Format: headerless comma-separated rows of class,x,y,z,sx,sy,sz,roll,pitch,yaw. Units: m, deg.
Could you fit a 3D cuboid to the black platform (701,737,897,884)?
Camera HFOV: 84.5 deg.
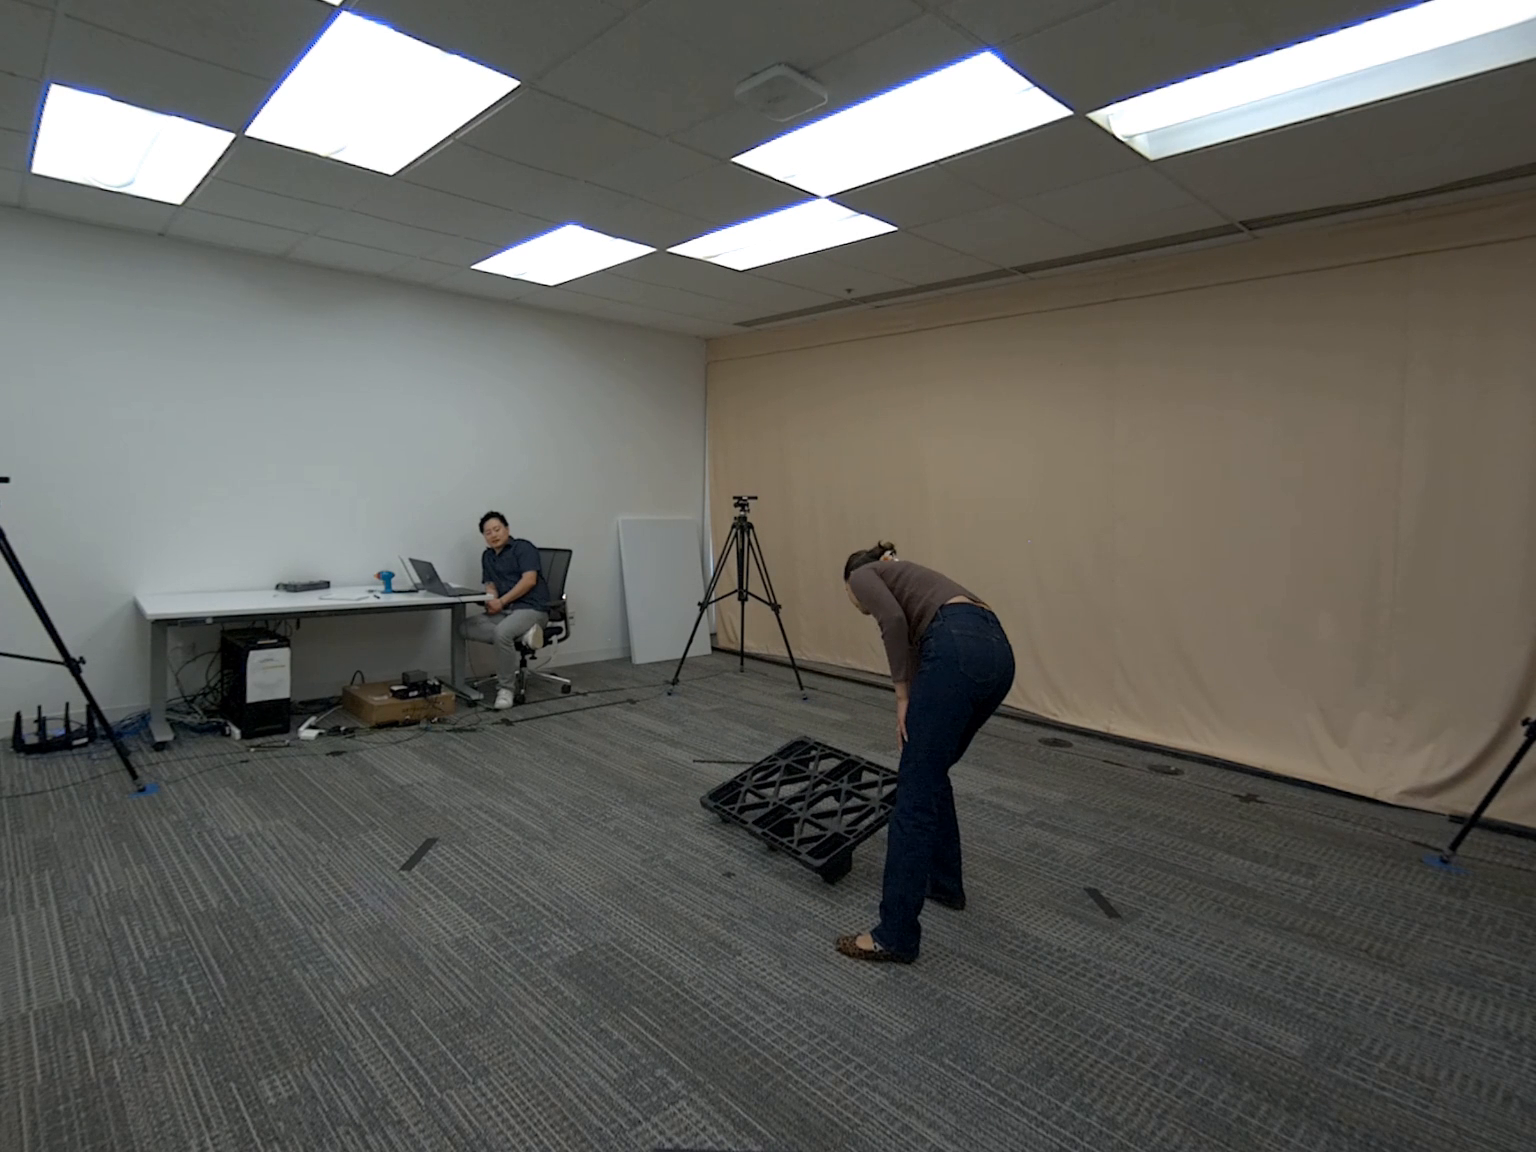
black platform,0.171,0.943,3.445,0.599,0.141,0.825,-26,19,-31
